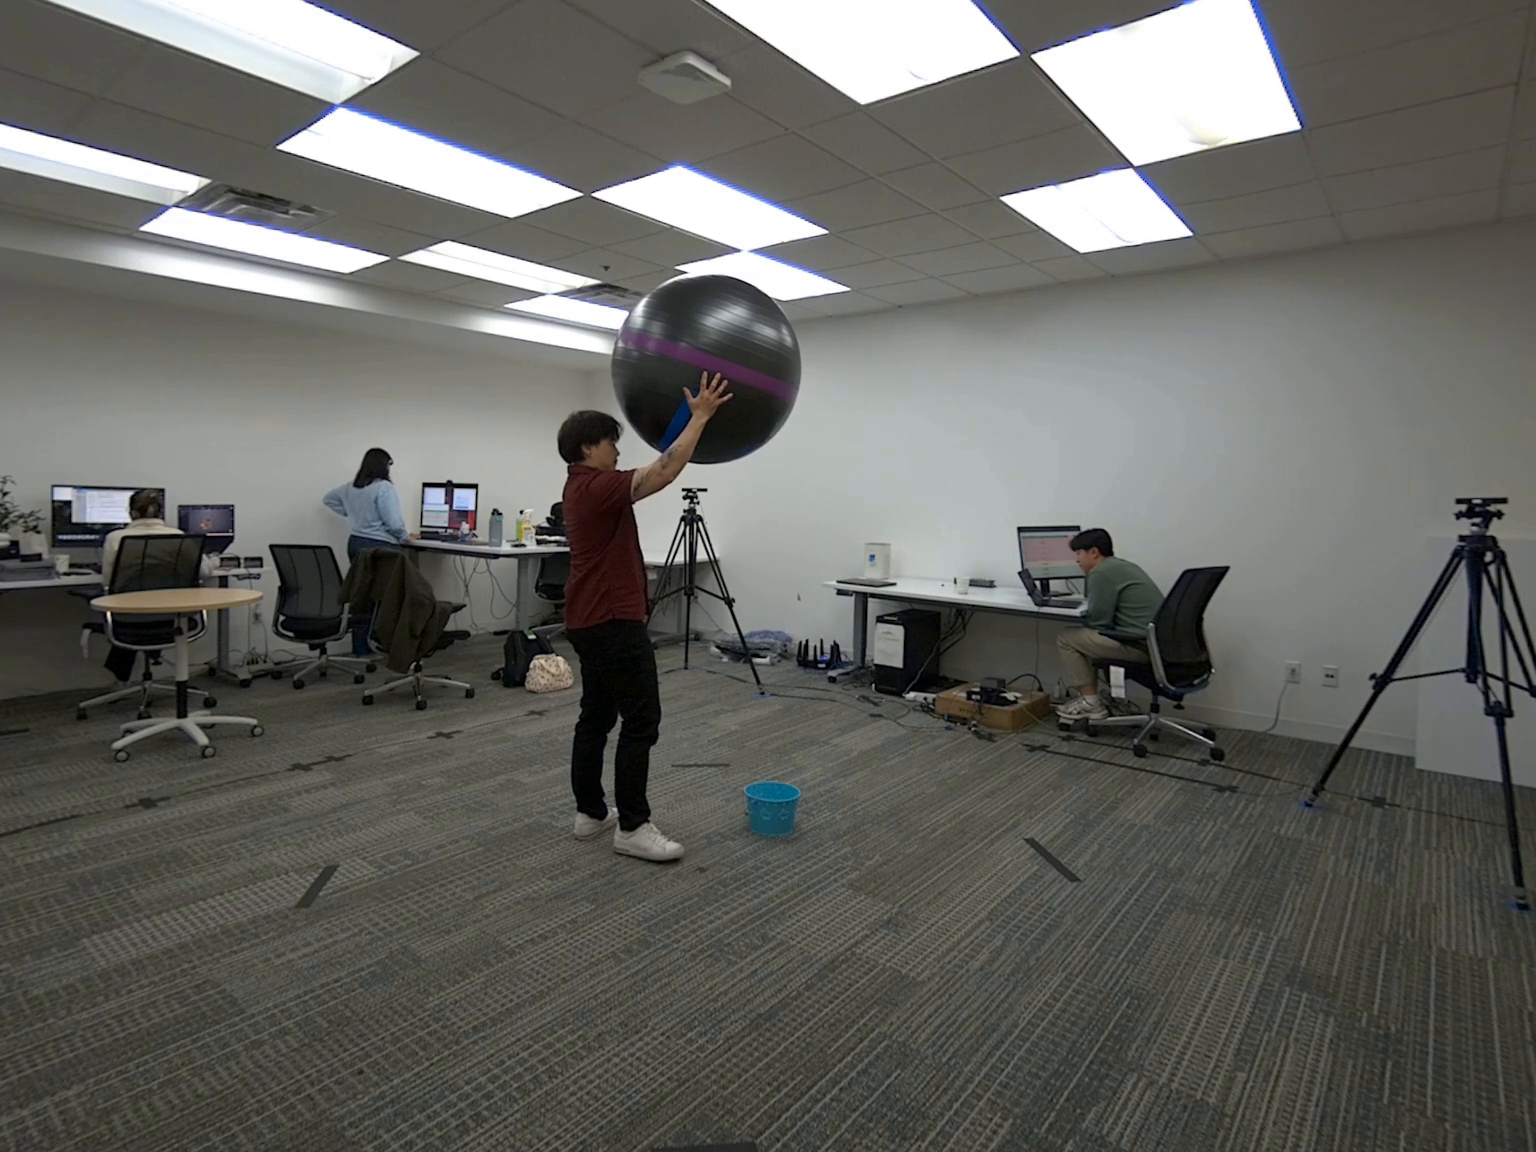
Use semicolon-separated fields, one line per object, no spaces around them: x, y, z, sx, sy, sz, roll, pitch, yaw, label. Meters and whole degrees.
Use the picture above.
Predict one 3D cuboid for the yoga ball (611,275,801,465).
-0.253;-0.831;3.427;0.757;0.755;0.762;1;4;-2;yoga ball
